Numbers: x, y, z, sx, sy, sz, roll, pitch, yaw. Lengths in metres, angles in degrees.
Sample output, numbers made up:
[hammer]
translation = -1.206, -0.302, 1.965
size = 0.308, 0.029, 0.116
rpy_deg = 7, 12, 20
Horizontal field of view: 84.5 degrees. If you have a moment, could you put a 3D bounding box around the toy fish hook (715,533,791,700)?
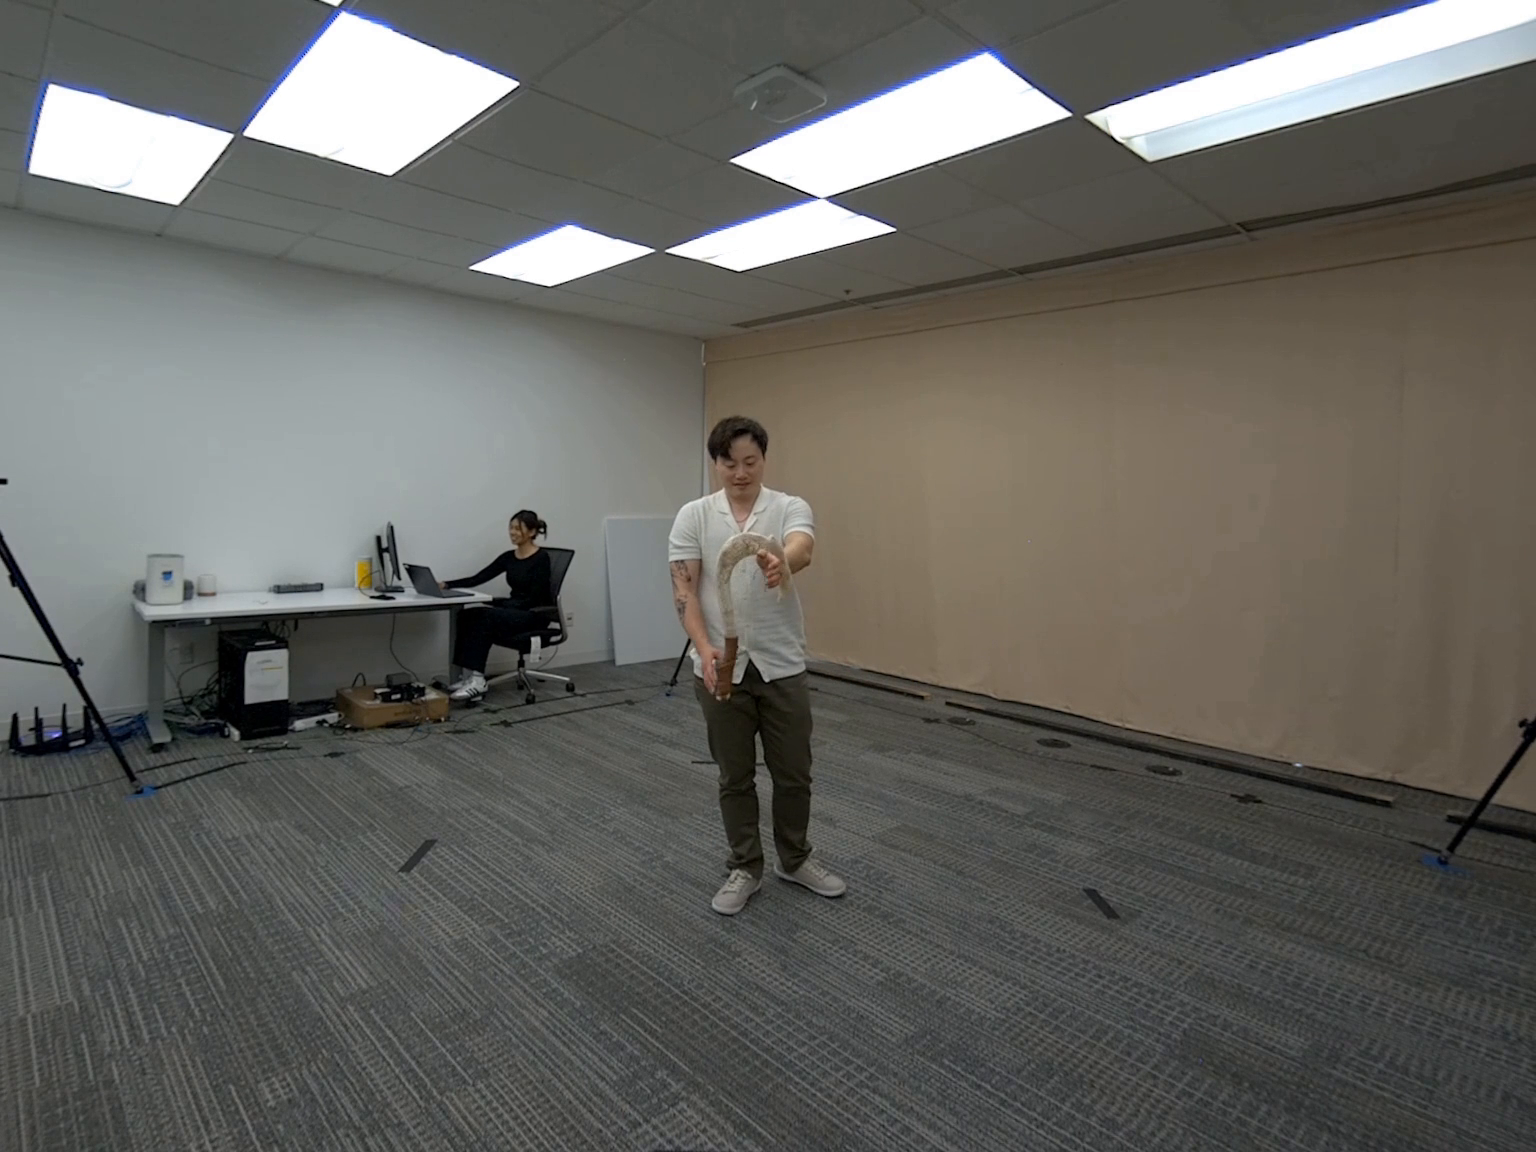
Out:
[toy fish hook]
translation = -0.064, 0.137, 2.433
size = 0.227, 0.504, 0.048
rpy_deg = 9, 8, 13
